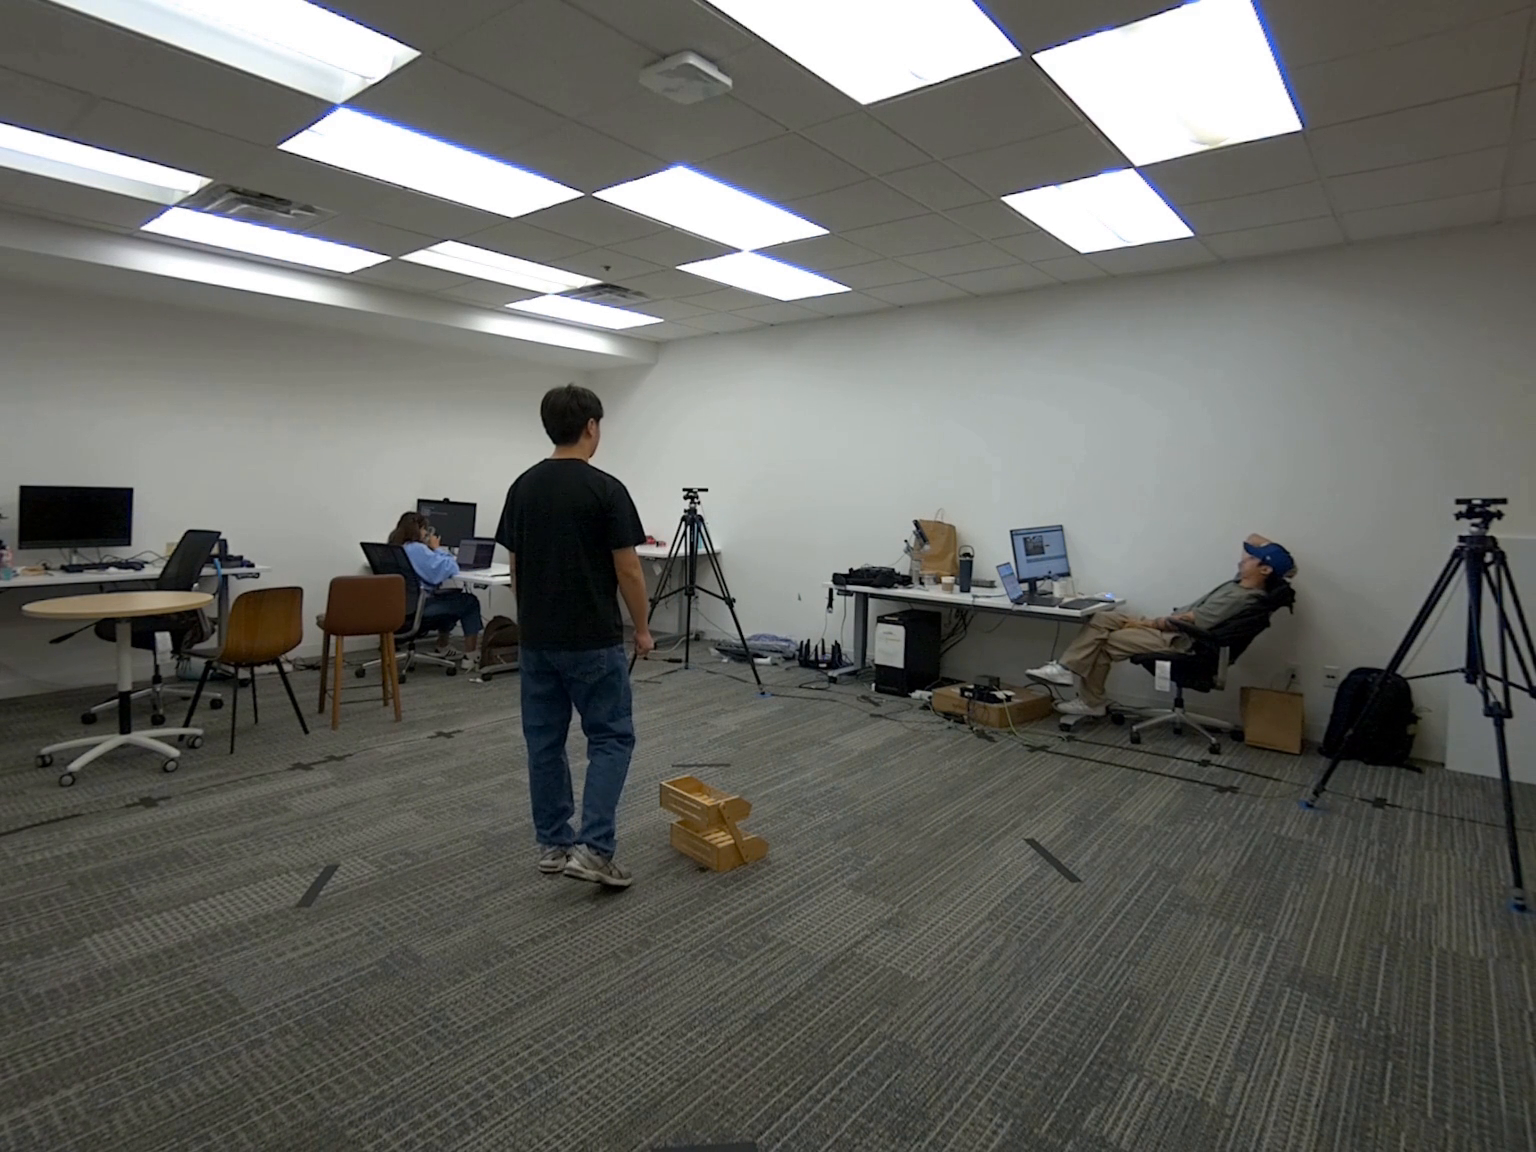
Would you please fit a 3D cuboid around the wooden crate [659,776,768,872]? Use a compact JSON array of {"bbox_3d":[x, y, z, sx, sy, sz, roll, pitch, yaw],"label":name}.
[{"bbox_3d":[-0.215,0.926,3.253,0.293,0.272,0.335,-4,6,-41],"label":"wooden crate"}]
